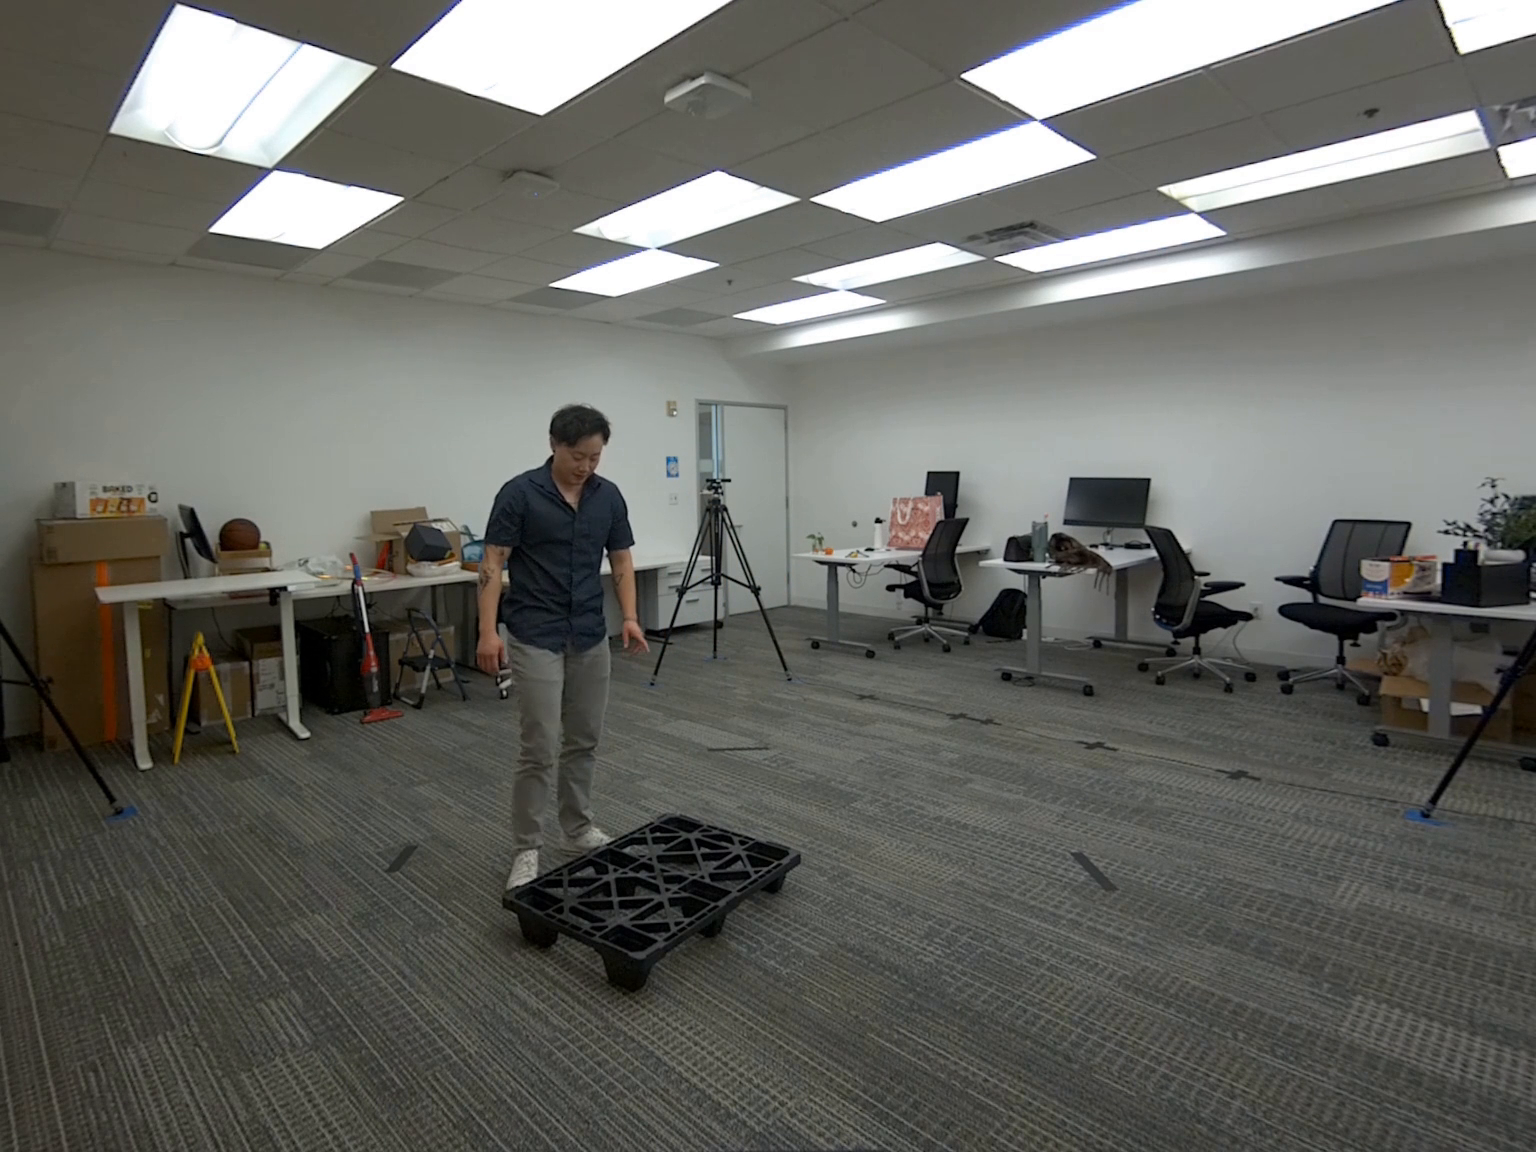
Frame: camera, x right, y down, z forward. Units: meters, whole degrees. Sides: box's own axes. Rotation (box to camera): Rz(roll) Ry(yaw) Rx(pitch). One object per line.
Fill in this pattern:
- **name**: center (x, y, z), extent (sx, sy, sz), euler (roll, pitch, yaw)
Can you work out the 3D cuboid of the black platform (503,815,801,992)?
- **black platform**: center (-0.351, 1.025, 2.755), extent (0.623, 0.143, 0.786), euler (3, 8, 36)
